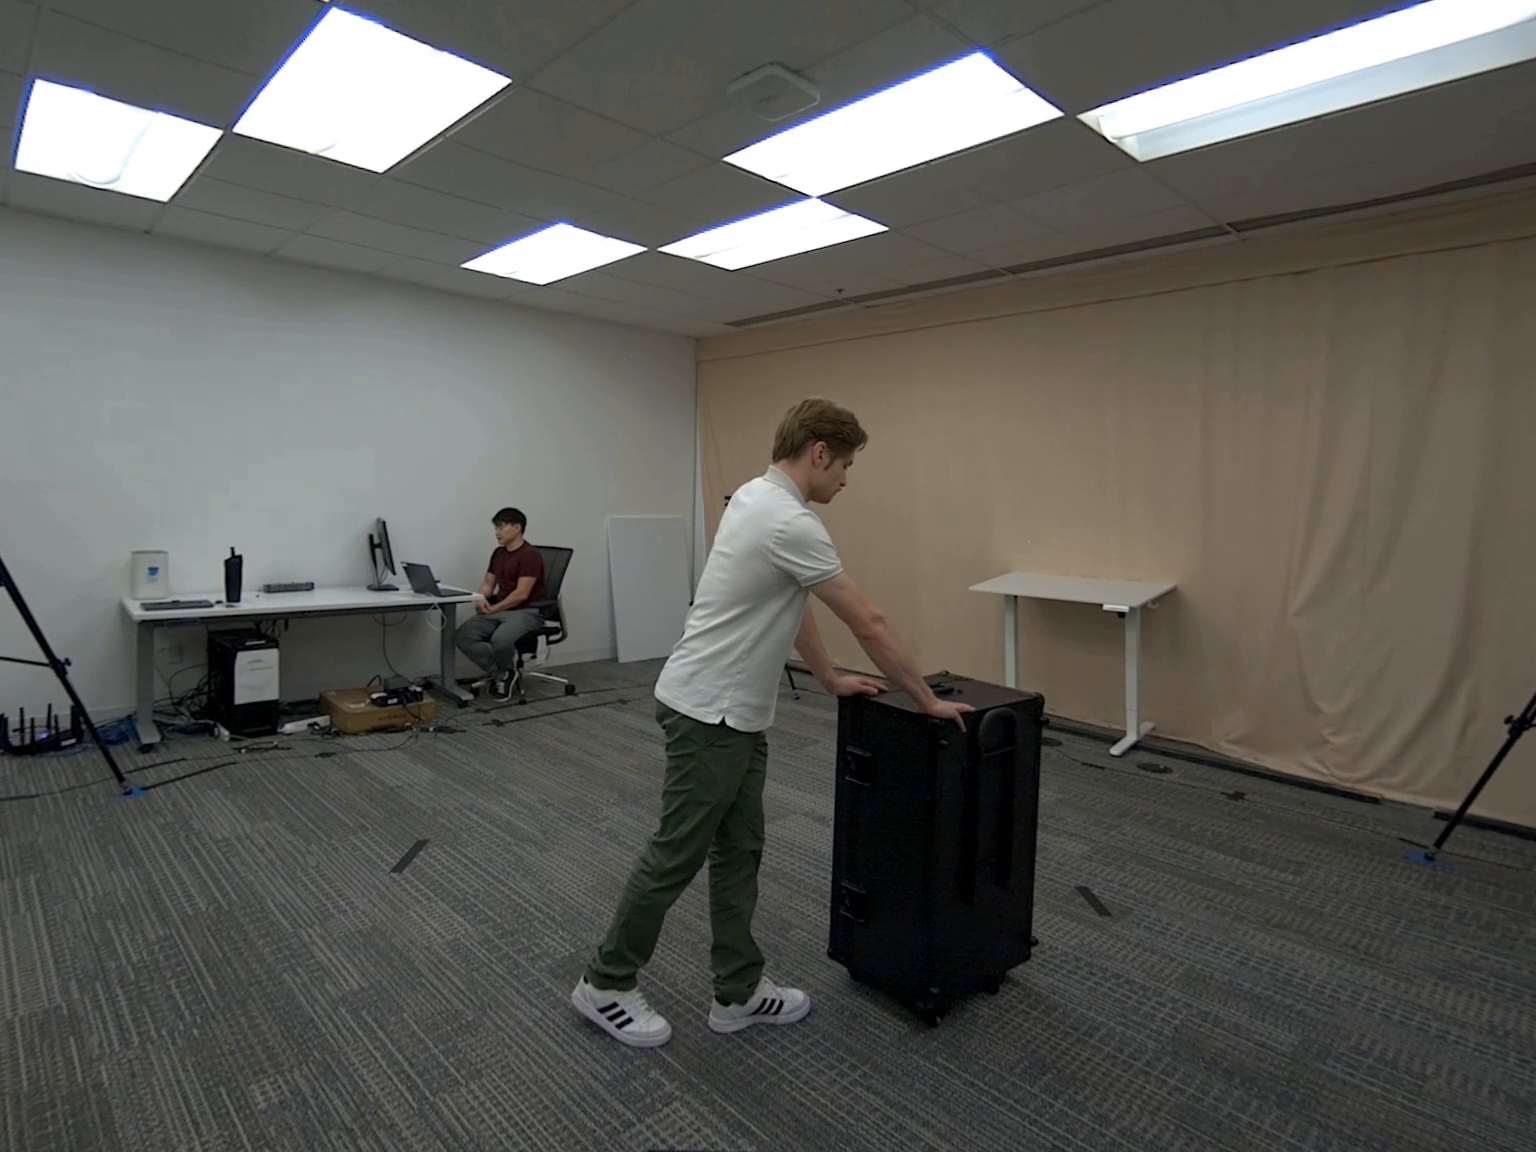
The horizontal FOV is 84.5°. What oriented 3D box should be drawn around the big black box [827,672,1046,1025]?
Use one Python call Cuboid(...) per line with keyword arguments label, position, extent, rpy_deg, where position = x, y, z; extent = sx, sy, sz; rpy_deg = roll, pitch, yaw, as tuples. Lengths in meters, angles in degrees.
Cuboid(label="big black box", position=(0.484, 0.761, 2.426), extent=(0.511, 0.866, 0.395), rpy_deg=(-2, 5, -40))
